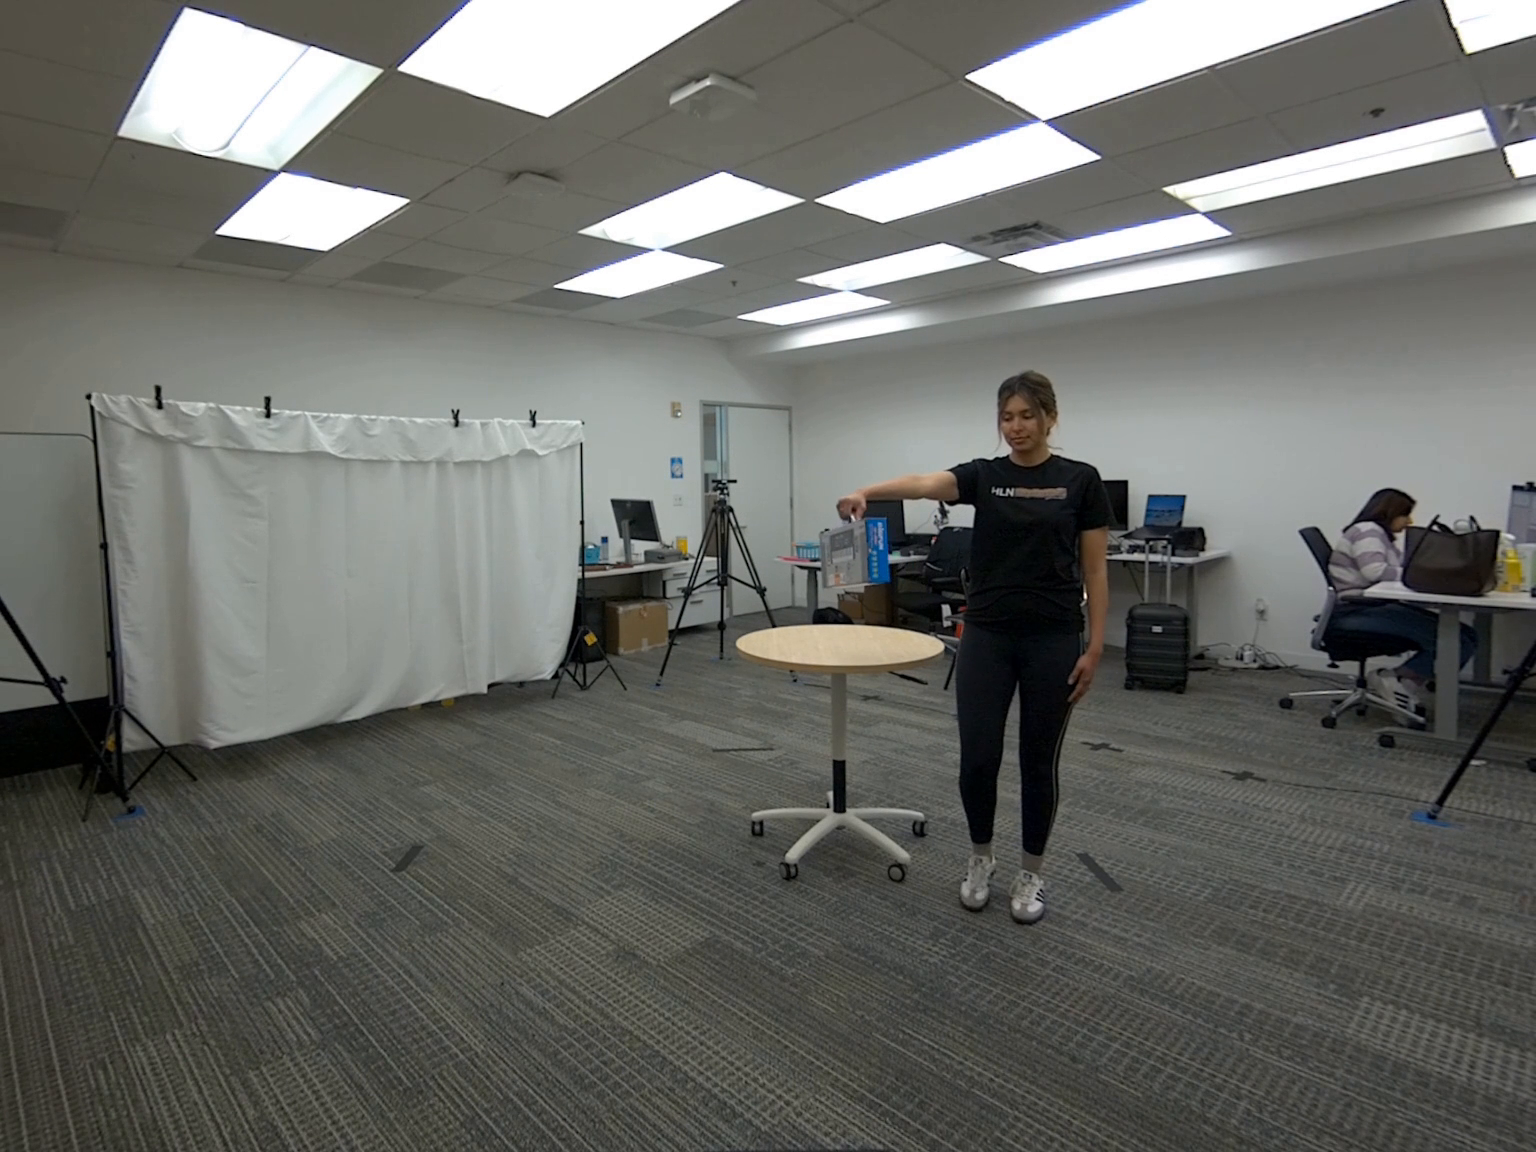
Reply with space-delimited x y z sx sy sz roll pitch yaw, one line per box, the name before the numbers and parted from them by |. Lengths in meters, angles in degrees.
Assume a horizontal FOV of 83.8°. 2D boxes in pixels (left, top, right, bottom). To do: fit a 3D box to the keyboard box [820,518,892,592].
keyboard box | 0.245 -0.055 2.453 0.058 0.177 0.439 -2 -3 -12
